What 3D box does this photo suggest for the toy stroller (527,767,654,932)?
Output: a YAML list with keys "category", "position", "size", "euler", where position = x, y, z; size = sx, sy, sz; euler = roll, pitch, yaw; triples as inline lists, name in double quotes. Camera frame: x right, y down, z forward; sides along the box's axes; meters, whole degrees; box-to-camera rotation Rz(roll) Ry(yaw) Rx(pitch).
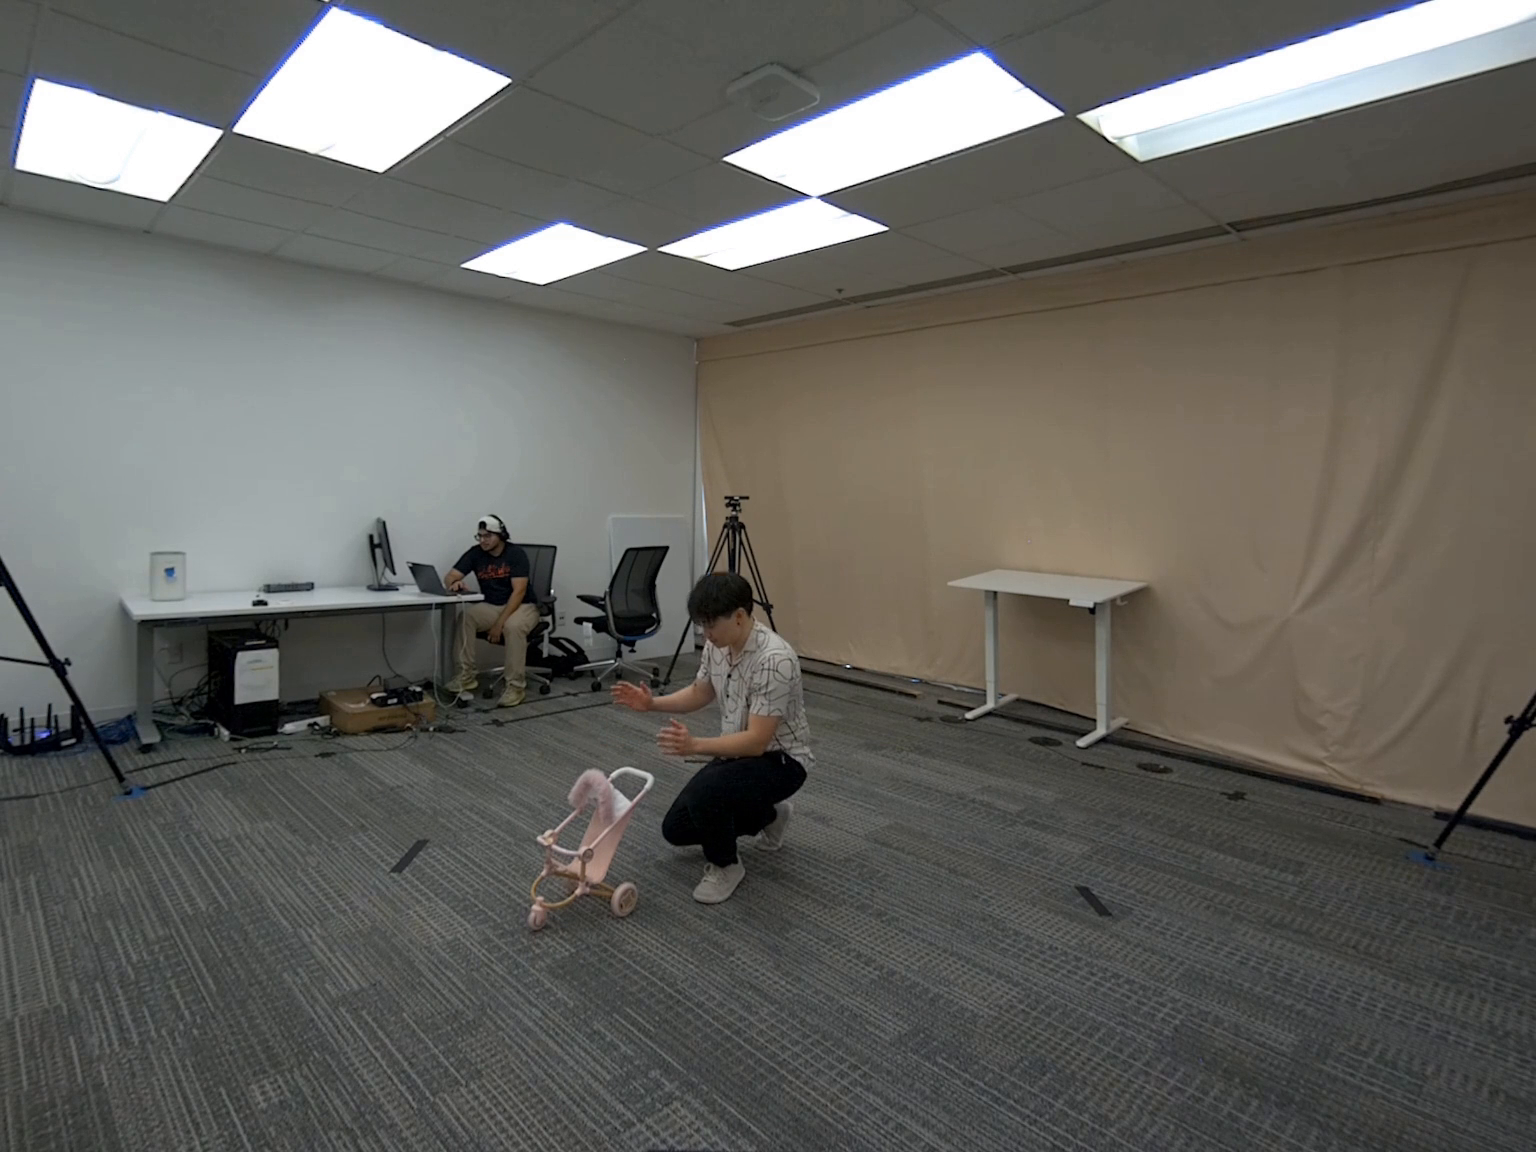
- category: "toy stroller"
  position: [-0.609, 0.898, 2.812]
  size: [0.288, 0.538, 0.331]
  euler: [3, -13, 45]
